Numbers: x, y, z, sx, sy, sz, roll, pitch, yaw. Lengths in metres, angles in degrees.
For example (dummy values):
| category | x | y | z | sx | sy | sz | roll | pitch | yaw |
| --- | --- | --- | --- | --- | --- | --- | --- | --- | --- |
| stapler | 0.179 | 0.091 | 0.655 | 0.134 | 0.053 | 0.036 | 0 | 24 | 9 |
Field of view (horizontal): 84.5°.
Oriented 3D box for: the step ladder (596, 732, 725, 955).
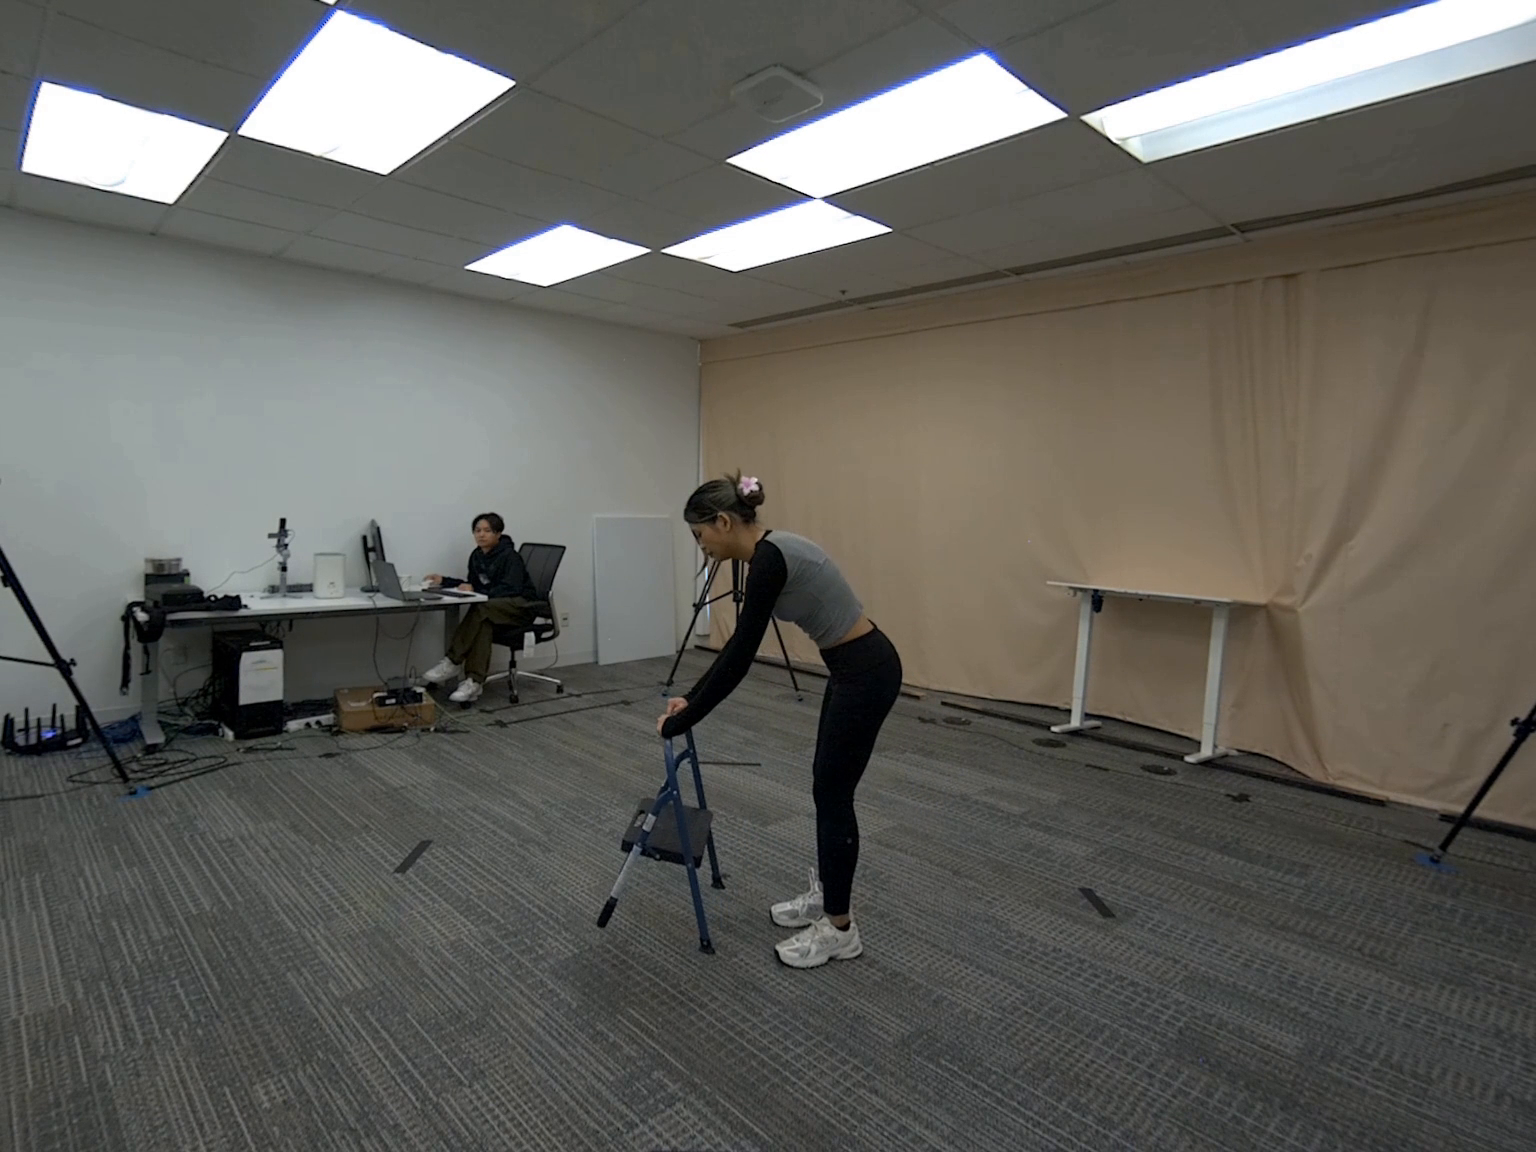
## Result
| category | x | y | z | sx | sy | sz | roll | pitch | yaw |
| --- | --- | --- | --- | --- | --- | --- | --- | --- | --- |
| step ladder | -0.275 | 0.737 | 2.604 | 0.350 | 0.604 | 0.431 | 11 | 5 | 1 |
